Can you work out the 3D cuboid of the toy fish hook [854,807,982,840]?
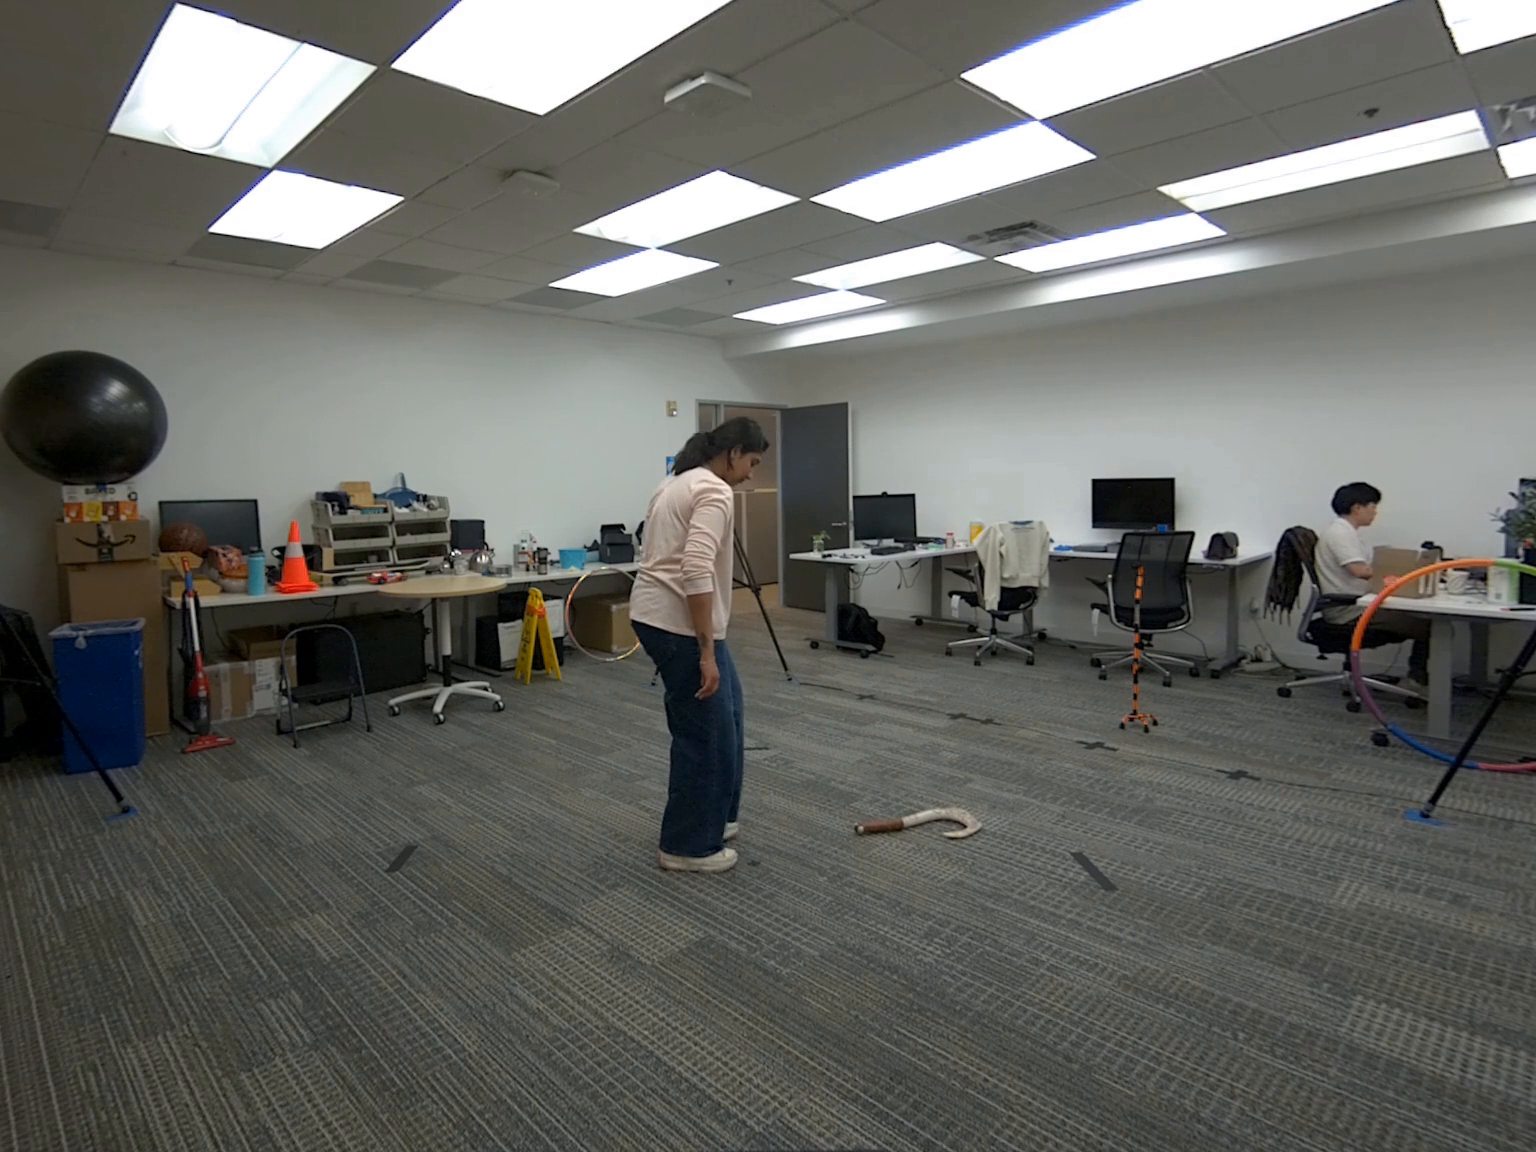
[{"bbox_3d":[0.590,0.981,3.354,0.499,0.048,0.229,-3,6,-17],"label":"toy fish hook"}]
